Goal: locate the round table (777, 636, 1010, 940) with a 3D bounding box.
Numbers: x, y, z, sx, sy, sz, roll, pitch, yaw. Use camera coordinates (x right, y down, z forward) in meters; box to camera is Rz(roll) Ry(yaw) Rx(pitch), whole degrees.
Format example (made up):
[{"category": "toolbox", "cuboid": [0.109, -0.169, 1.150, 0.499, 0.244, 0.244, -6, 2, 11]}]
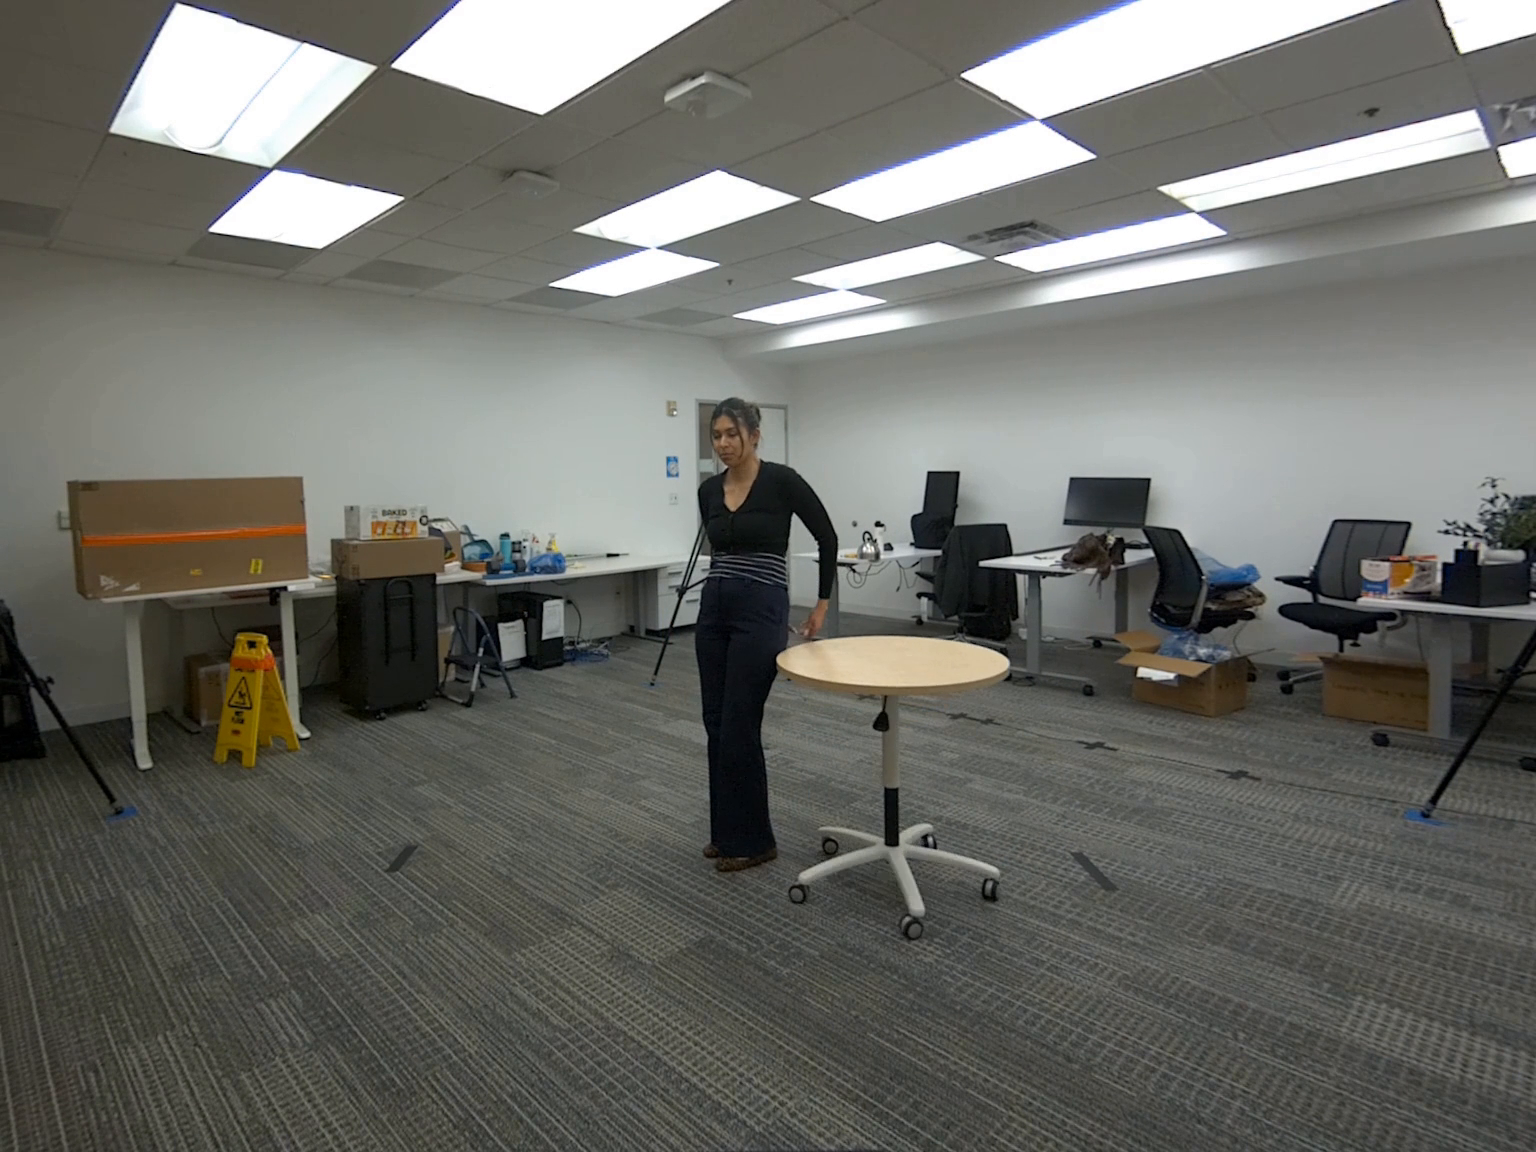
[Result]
[{"category": "round table", "cuboid": [0.427, 0.671, 2.897, 0.763, 0.790, 0.768, -1, 5, -2]}]
